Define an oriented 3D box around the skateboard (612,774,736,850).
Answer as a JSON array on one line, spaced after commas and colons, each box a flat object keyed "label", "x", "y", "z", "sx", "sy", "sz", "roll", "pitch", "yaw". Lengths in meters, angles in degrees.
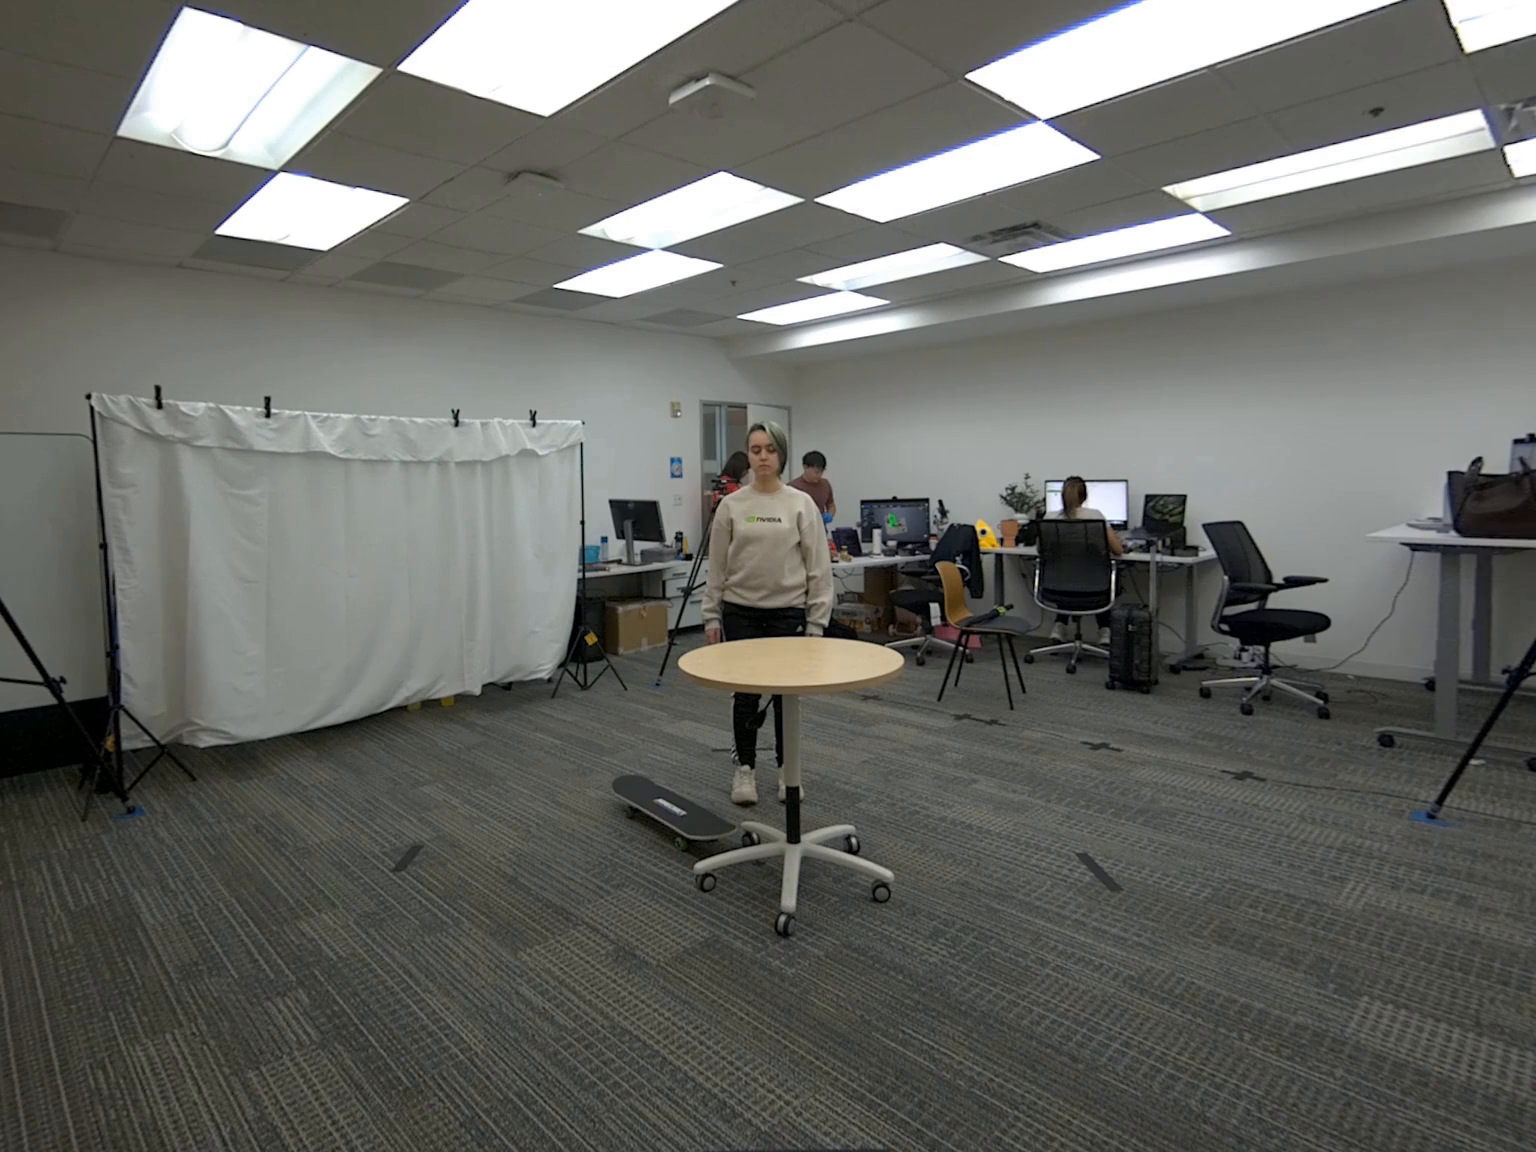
[{"label": "skateboard", "x": -0.386, "y": 0.961, "z": 3.434, "sx": 0.188, "sy": 0.110, "sz": 0.809, "roll": -5, "pitch": 7, "yaw": -37}]
